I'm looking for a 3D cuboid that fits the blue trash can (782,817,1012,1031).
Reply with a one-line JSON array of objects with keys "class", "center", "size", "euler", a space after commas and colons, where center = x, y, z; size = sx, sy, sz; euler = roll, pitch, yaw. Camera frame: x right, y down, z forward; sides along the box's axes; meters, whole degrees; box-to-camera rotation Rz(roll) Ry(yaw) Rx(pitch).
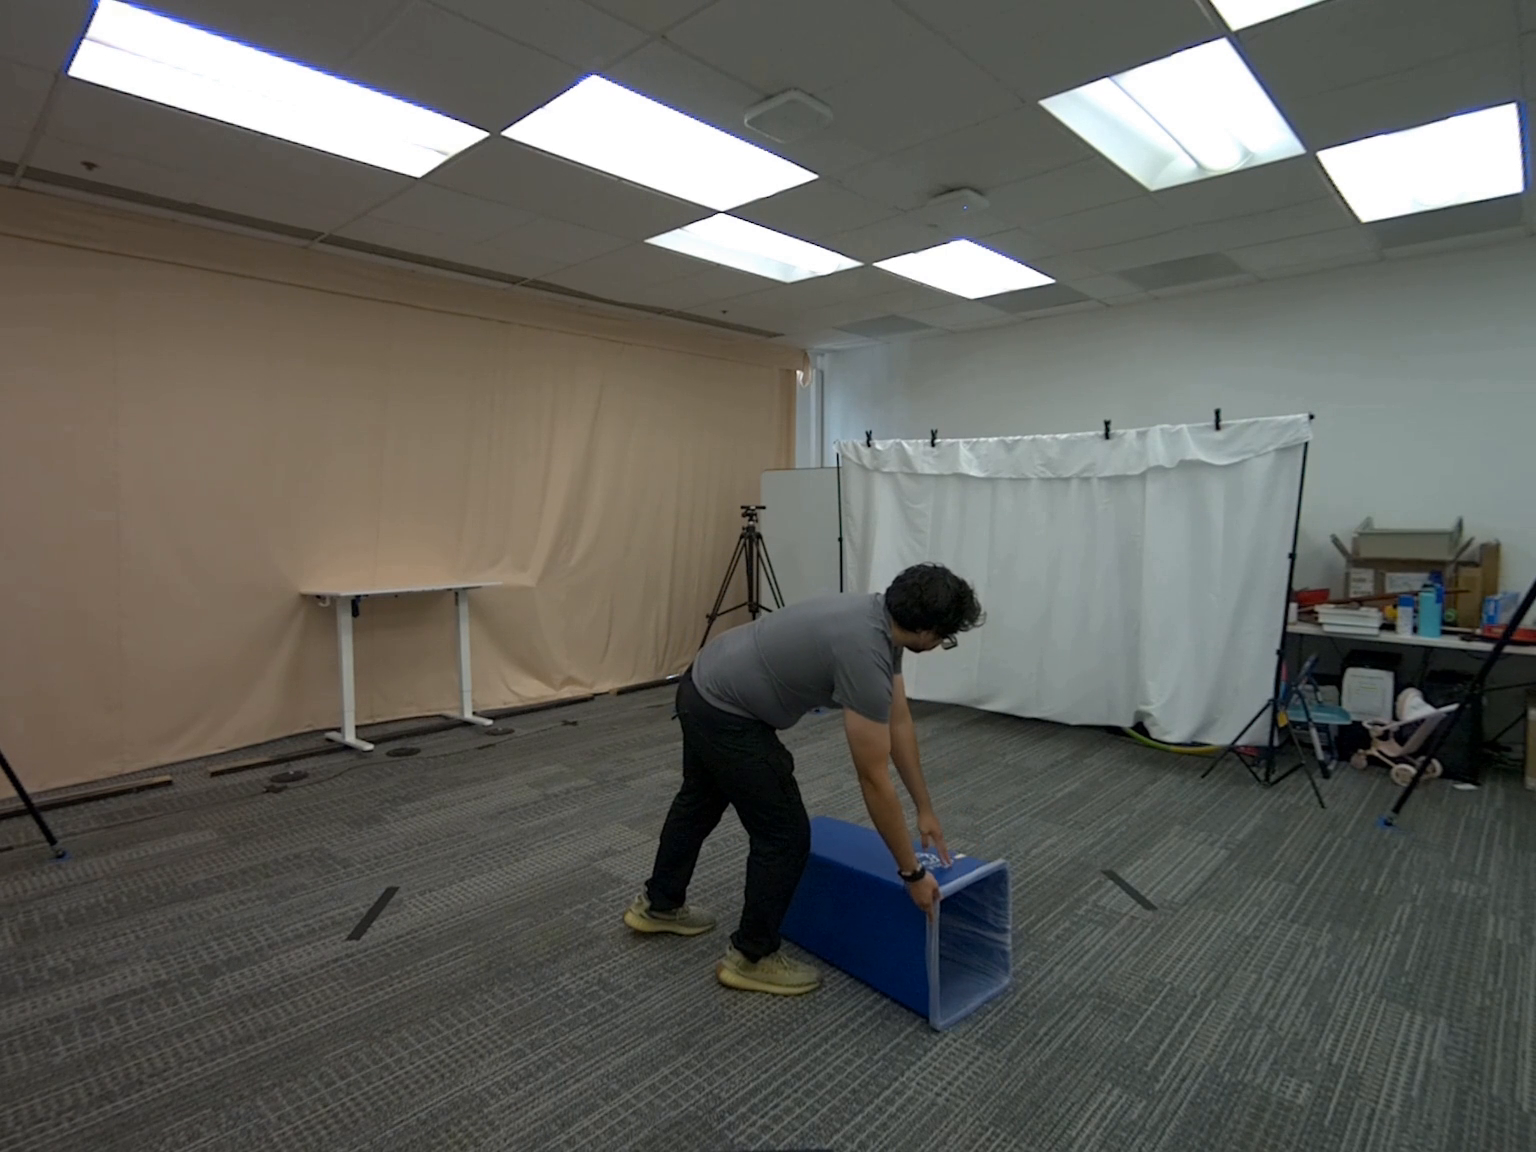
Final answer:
[{"class": "blue trash can", "center": [0.335, 1.000, 2.594], "size": [0.366, 0.373, 0.737], "euler": [-3, 3, -42]}]
